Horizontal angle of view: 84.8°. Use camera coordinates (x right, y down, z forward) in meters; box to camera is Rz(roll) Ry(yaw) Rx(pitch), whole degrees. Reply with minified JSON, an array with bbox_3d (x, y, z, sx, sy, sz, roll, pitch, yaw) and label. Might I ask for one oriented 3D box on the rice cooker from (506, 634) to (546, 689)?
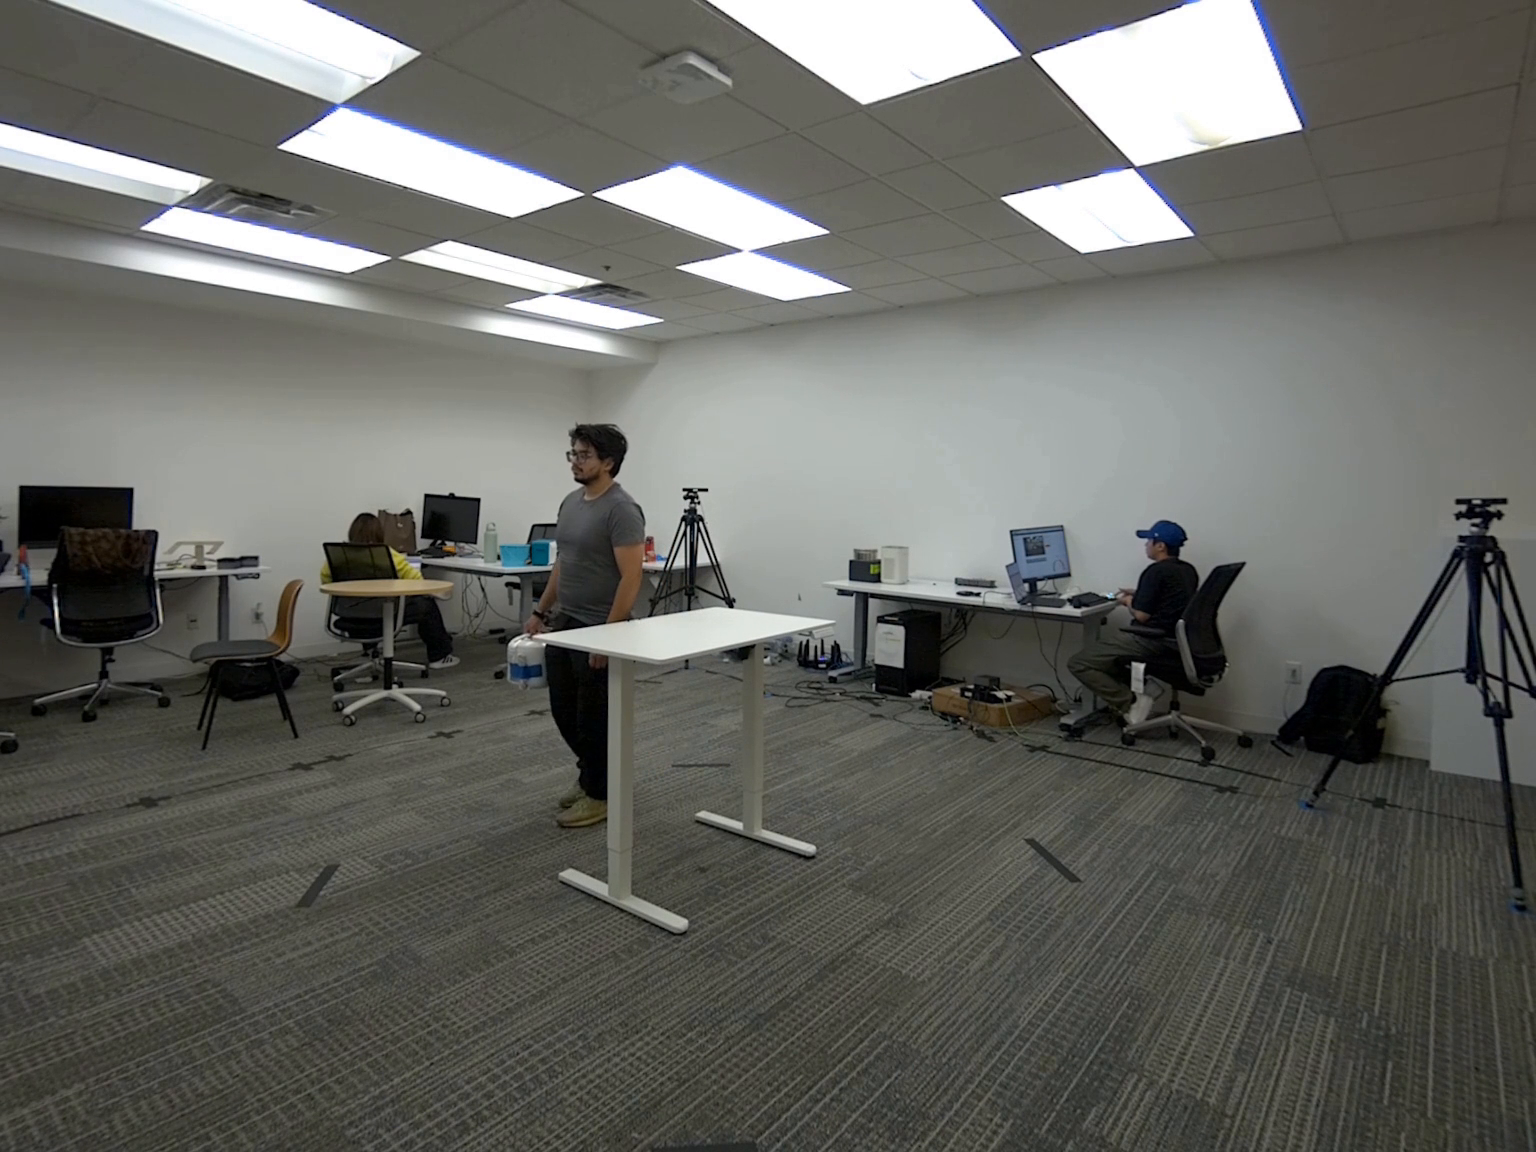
[{"bbox_3d":[-1.052,0.363,3.742,0.213,0.232,0.225,2,5,-40],"label":"rice cooker"}]
